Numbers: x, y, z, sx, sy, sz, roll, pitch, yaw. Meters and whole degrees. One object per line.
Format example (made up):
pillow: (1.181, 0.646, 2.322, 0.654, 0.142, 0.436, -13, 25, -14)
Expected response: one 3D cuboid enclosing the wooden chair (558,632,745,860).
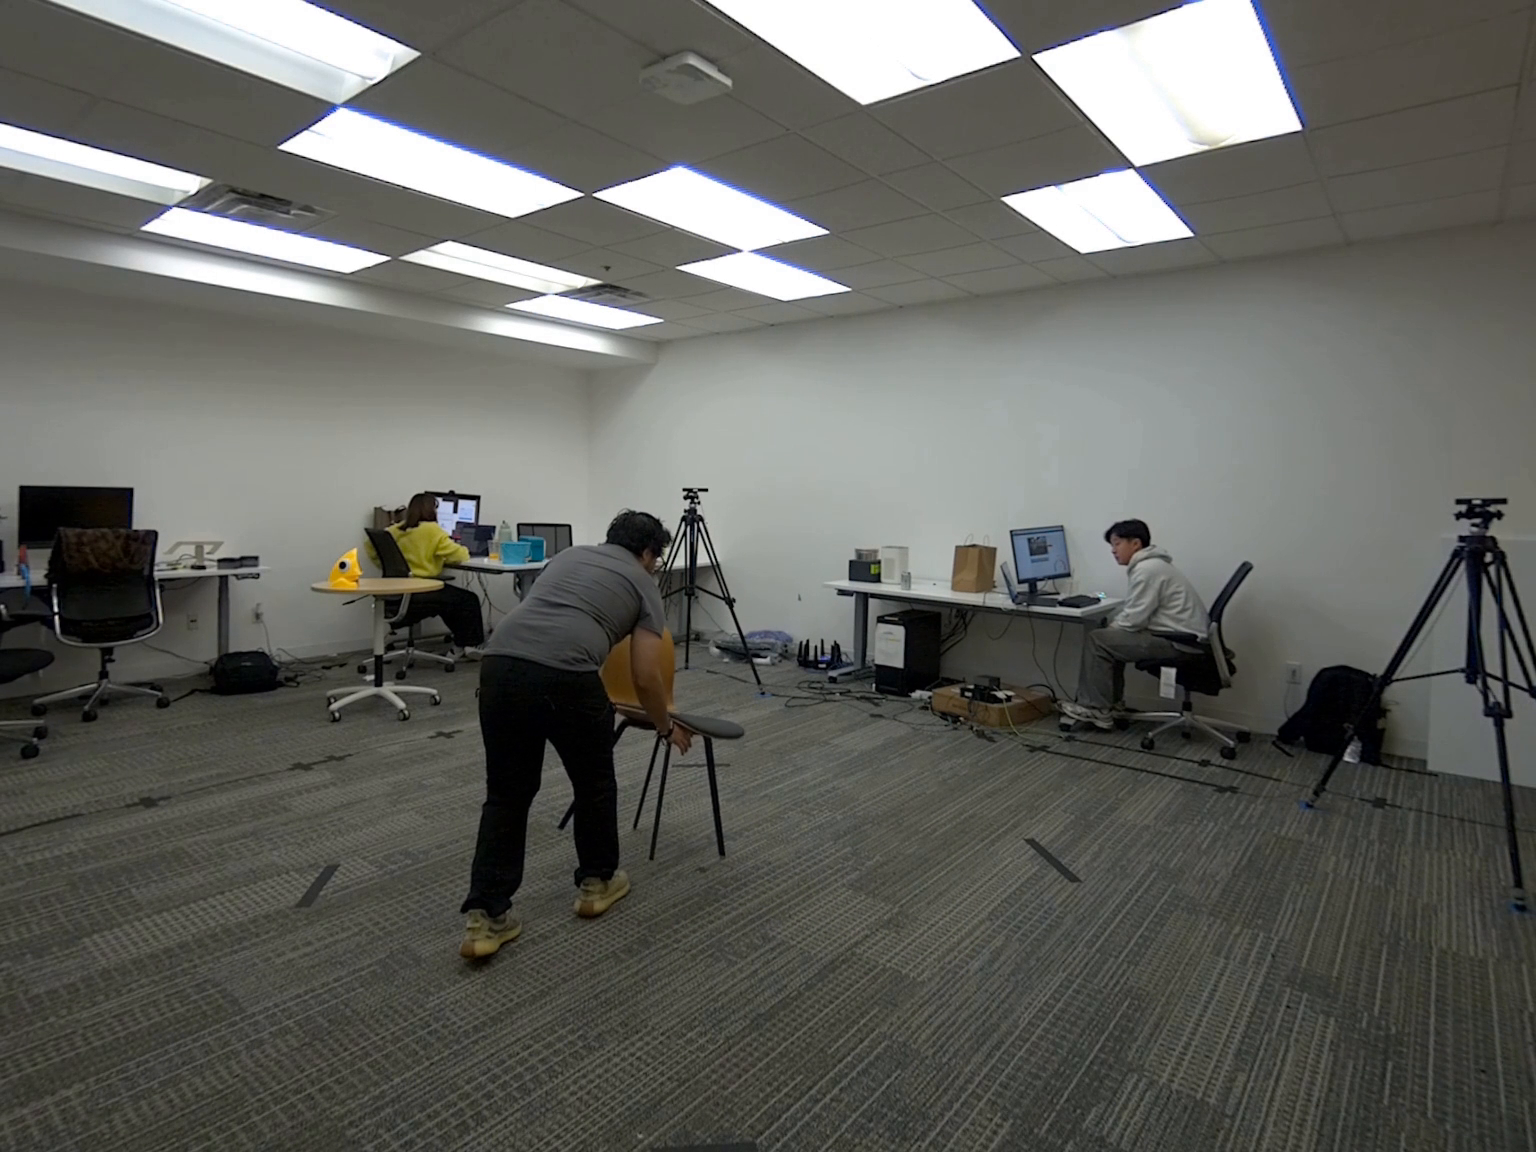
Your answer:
wooden chair: (-0.395, 0.582, 3.245, 0.538, 0.887, 0.459, -2, -16, 33)
